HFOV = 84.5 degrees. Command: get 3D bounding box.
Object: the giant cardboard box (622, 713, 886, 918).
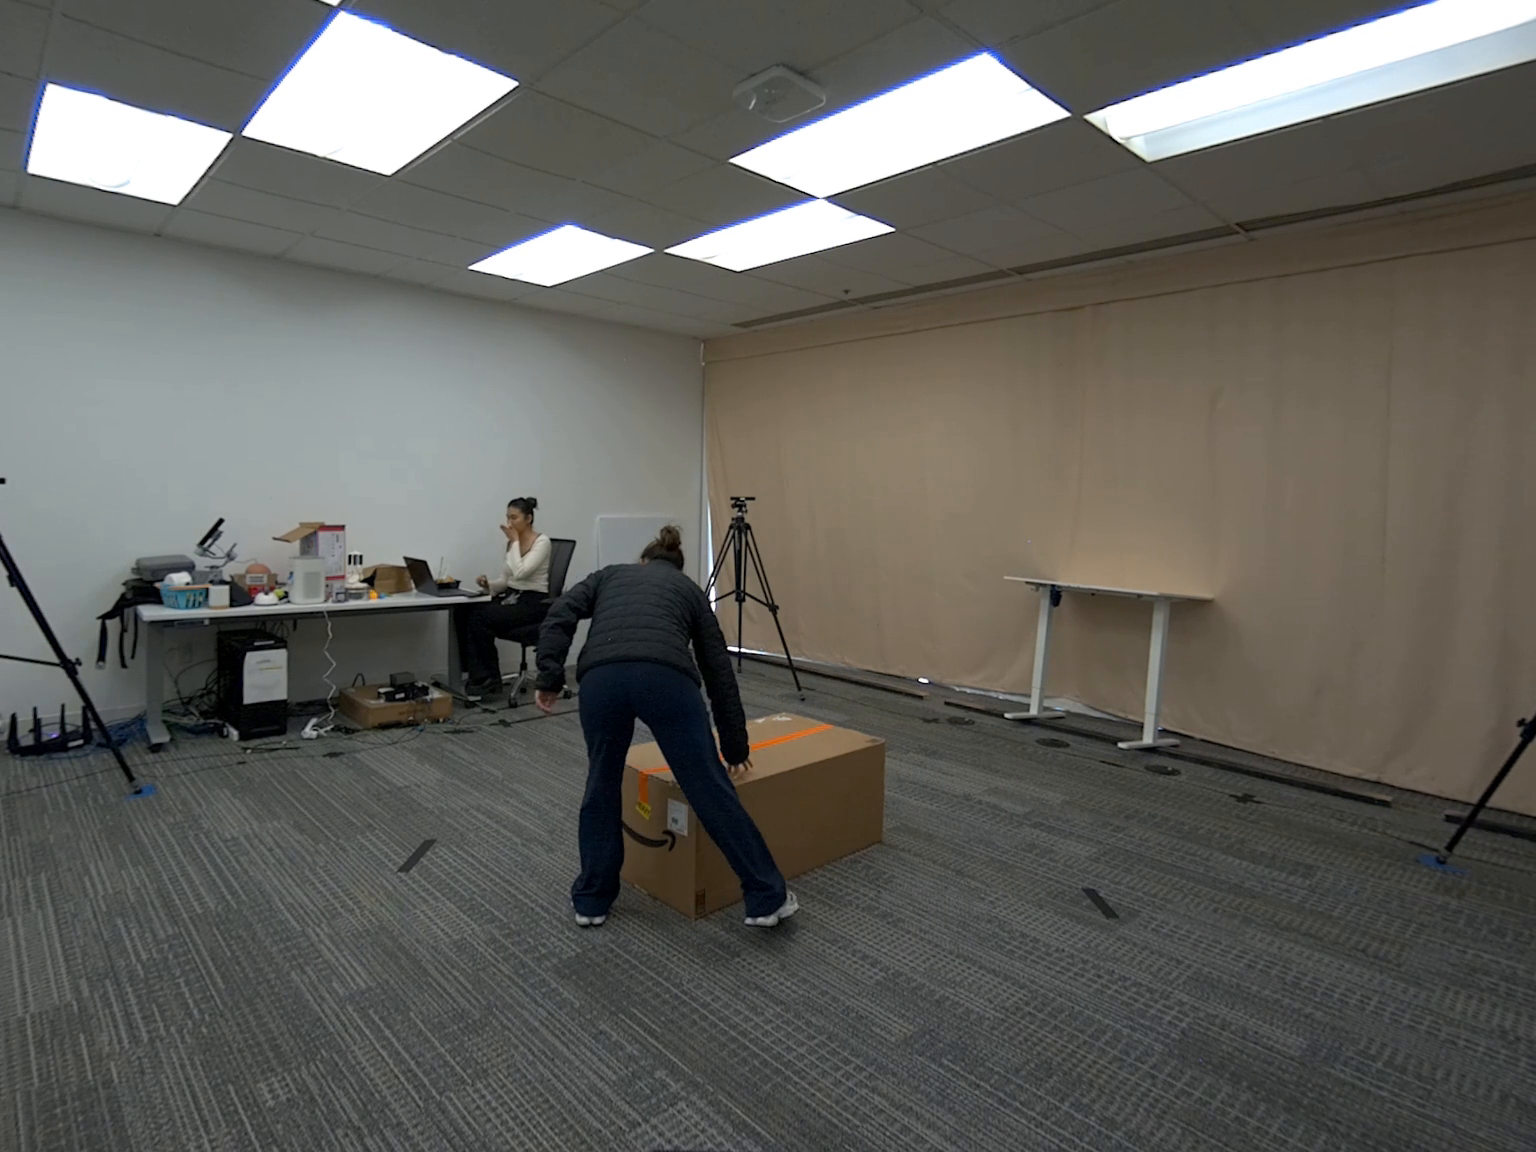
[{"bbox_3d":[-0.089,0.883,3.296,1.003,0.445,0.599,-2,7,-45],"label":"giant cardboard box"}]
